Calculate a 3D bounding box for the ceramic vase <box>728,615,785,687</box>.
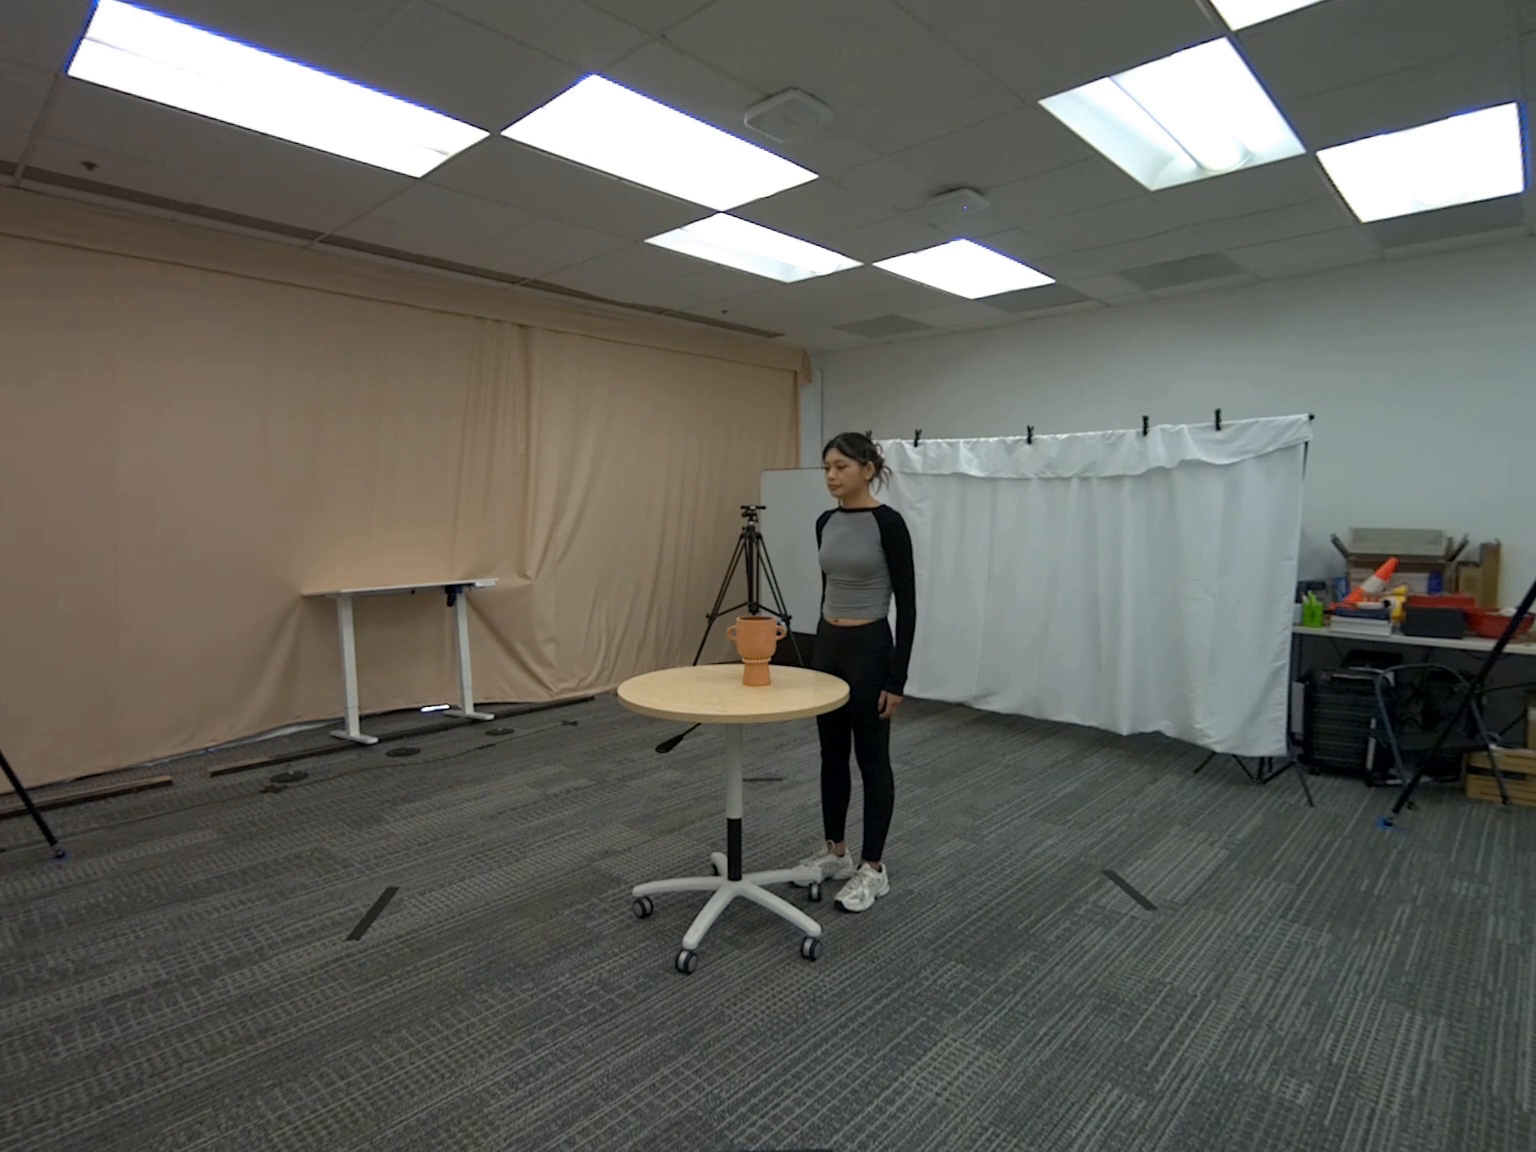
[{"bbox_3d":[-0.035,0.257,2.829,0.164,0.219,0.130,2,4,40],"label":"ceramic vase"}]
